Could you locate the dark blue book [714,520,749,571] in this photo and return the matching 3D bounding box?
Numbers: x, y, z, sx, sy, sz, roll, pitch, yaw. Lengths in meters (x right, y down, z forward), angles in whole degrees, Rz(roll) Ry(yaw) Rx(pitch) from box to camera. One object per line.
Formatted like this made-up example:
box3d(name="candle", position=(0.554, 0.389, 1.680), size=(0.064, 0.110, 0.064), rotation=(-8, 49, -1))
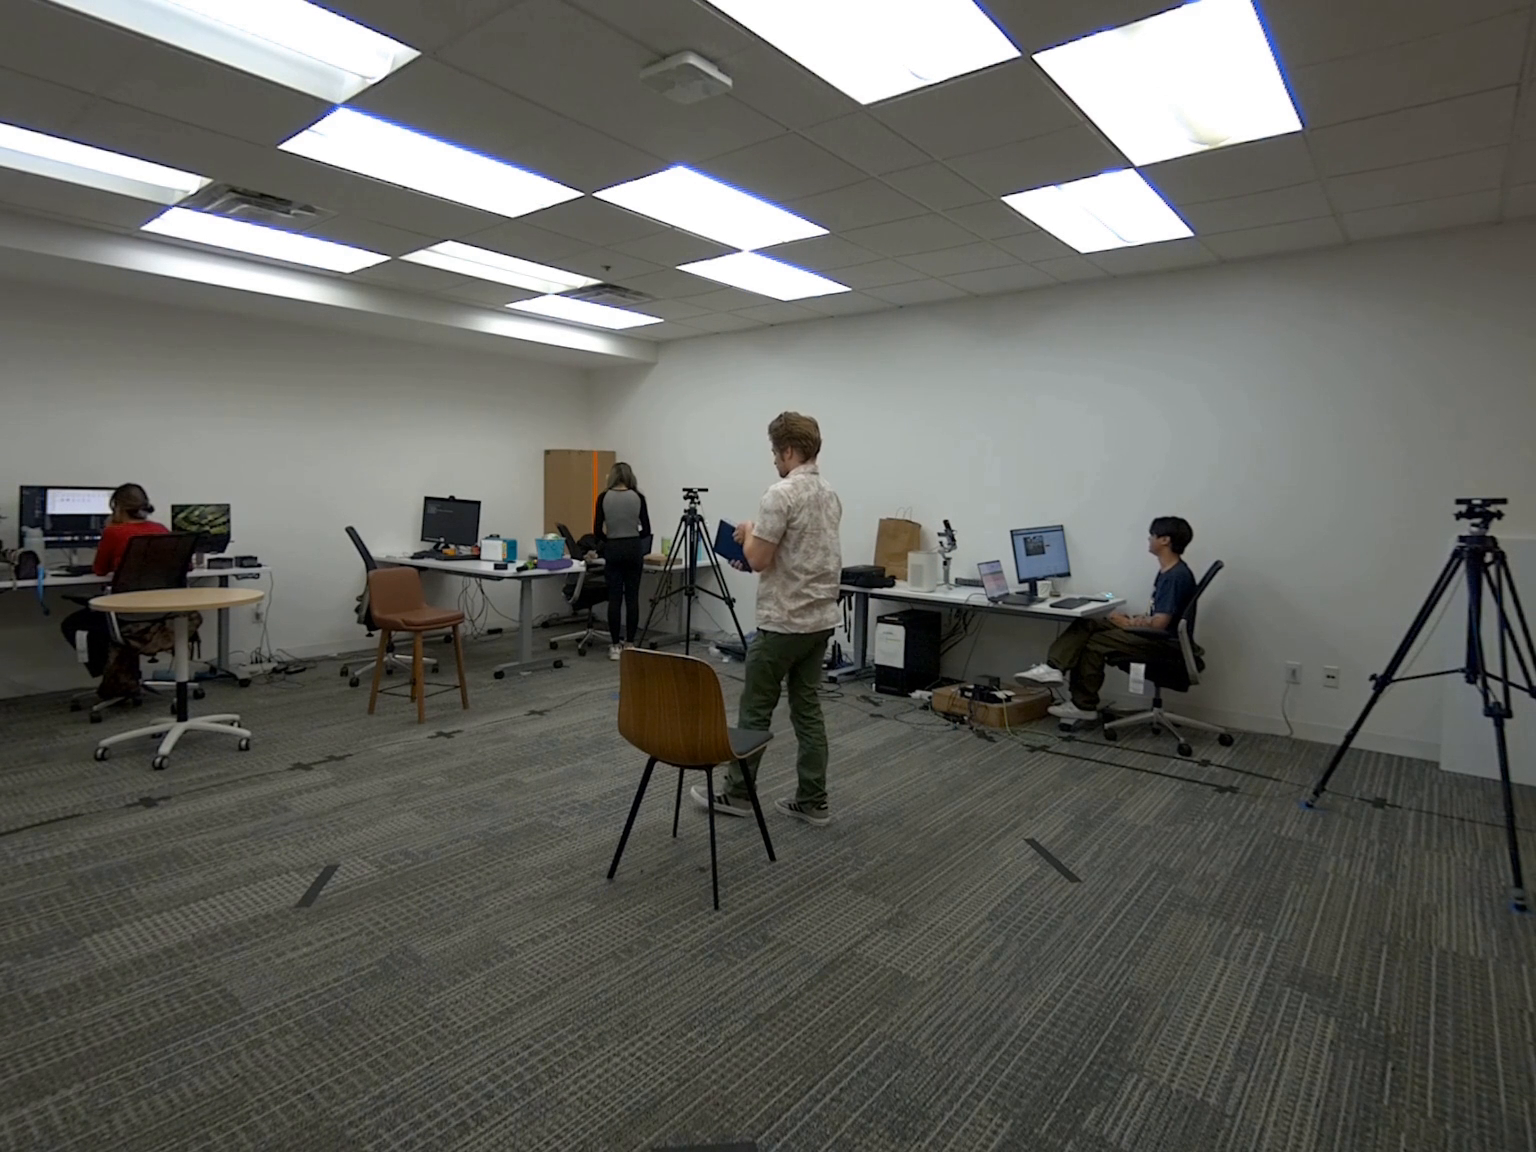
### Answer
box3d(name="dark blue book", position=(-0.141, -0.145, 3.824), size=(0.255, 0.161, 0.044), rotation=(27, 23, 34))
